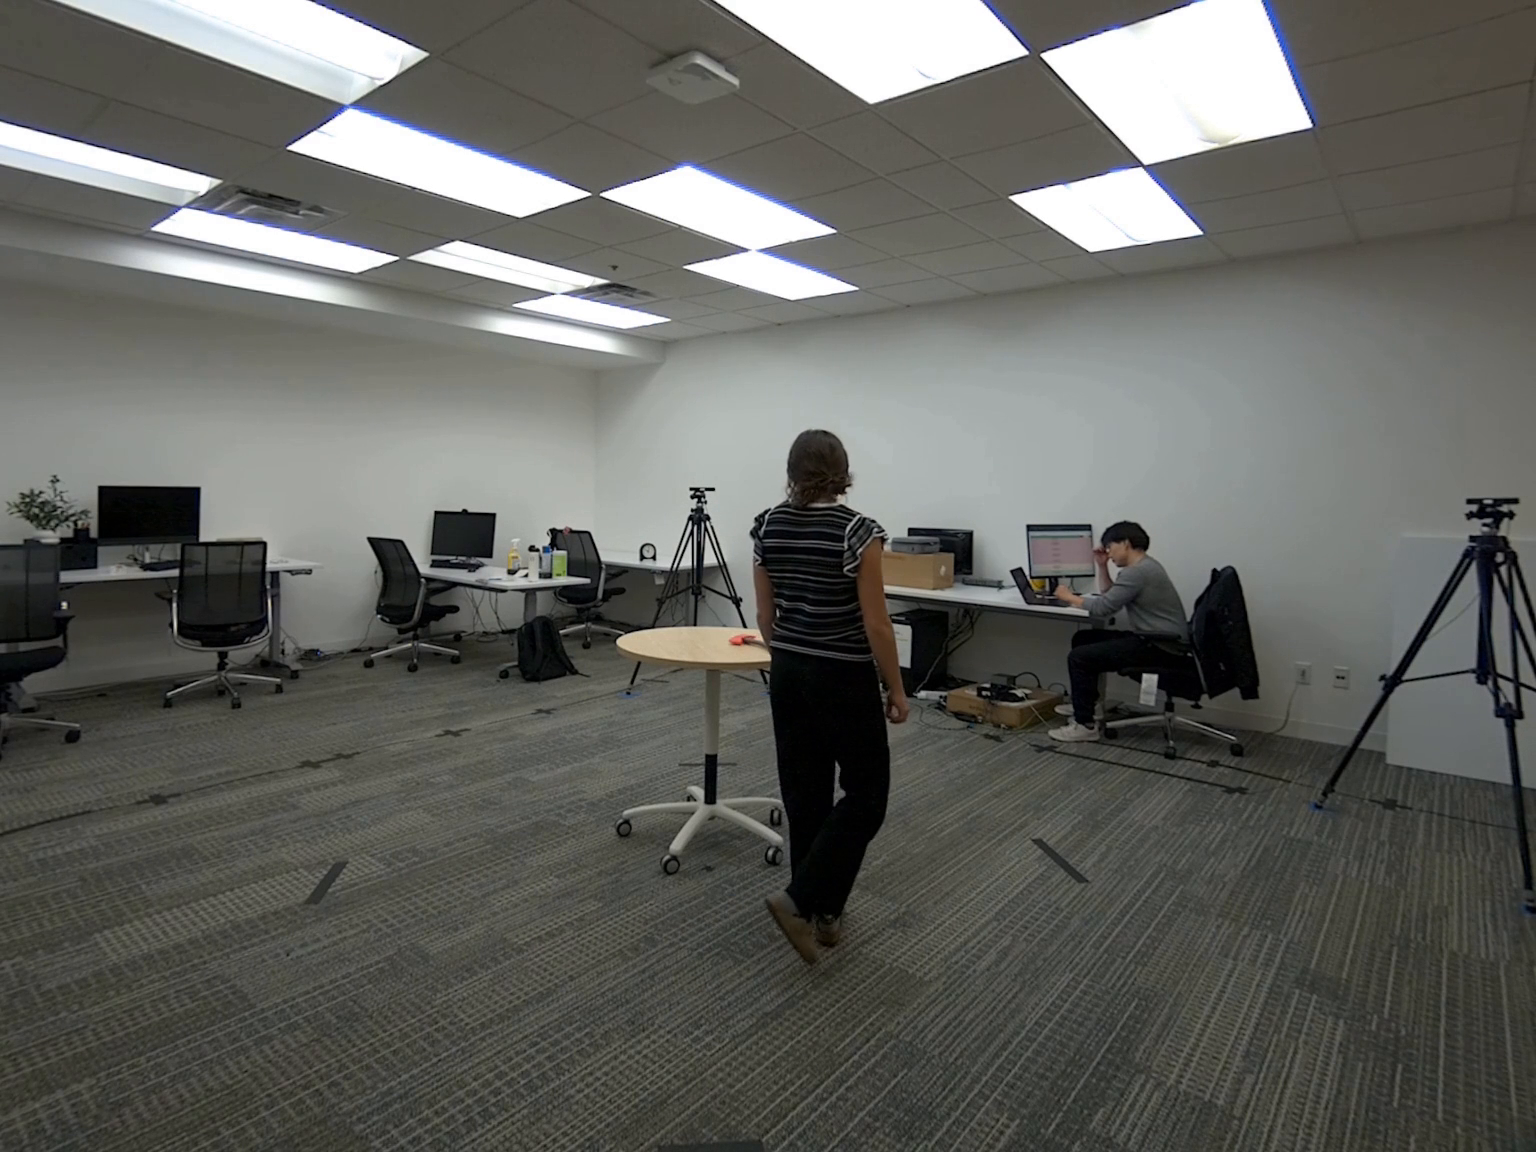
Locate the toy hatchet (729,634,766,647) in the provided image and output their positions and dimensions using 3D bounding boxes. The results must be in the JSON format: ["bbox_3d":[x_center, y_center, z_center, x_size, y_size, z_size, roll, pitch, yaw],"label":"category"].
[{"bbox_3d":[-0.074,0.261,3.270,0.128,0.029,0.277,-3,9,-21],"label":"toy hatchet"}]
